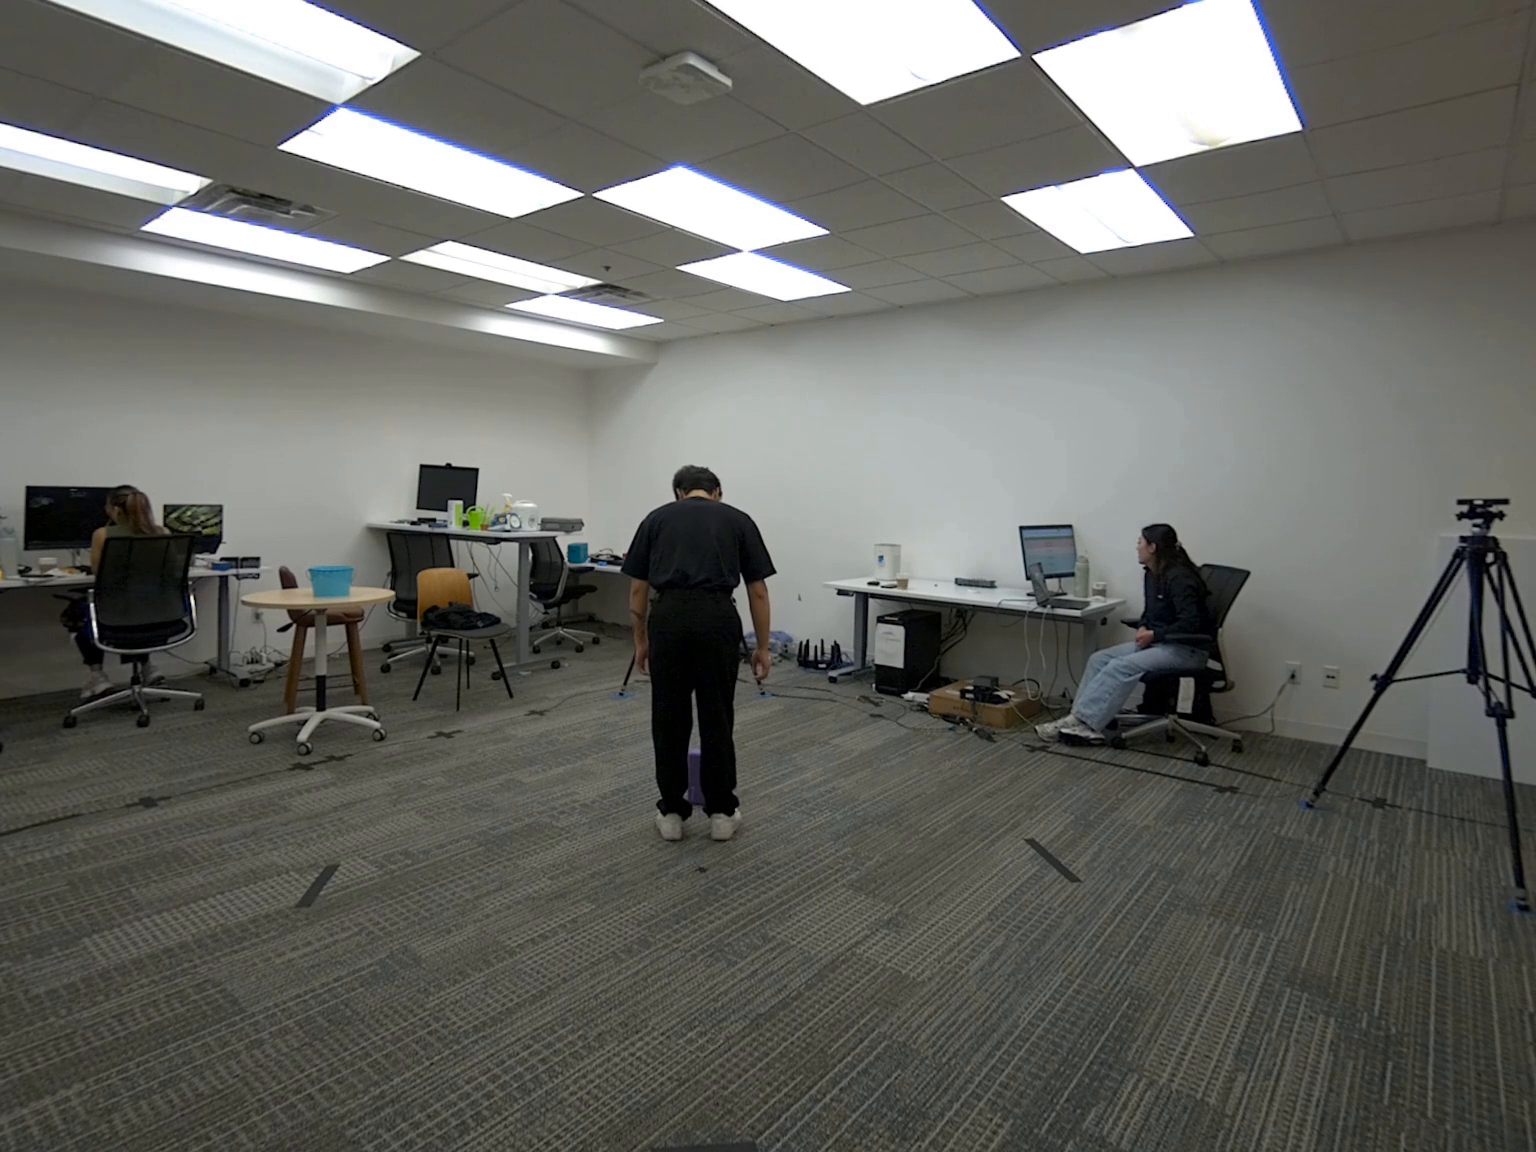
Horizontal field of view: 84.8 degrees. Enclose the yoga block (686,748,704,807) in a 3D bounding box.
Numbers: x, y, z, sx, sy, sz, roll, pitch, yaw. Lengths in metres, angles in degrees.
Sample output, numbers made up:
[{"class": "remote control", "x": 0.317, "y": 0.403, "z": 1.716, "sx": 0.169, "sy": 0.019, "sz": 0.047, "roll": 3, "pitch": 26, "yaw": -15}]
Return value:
[{"class": "yoga block", "x": -0.289, "y": 0.888, "z": 3.768, "sx": 0.150, "sy": 0.229, "sz": 0.076, "roll": 1, "pitch": 0, "yaw": 5}]
